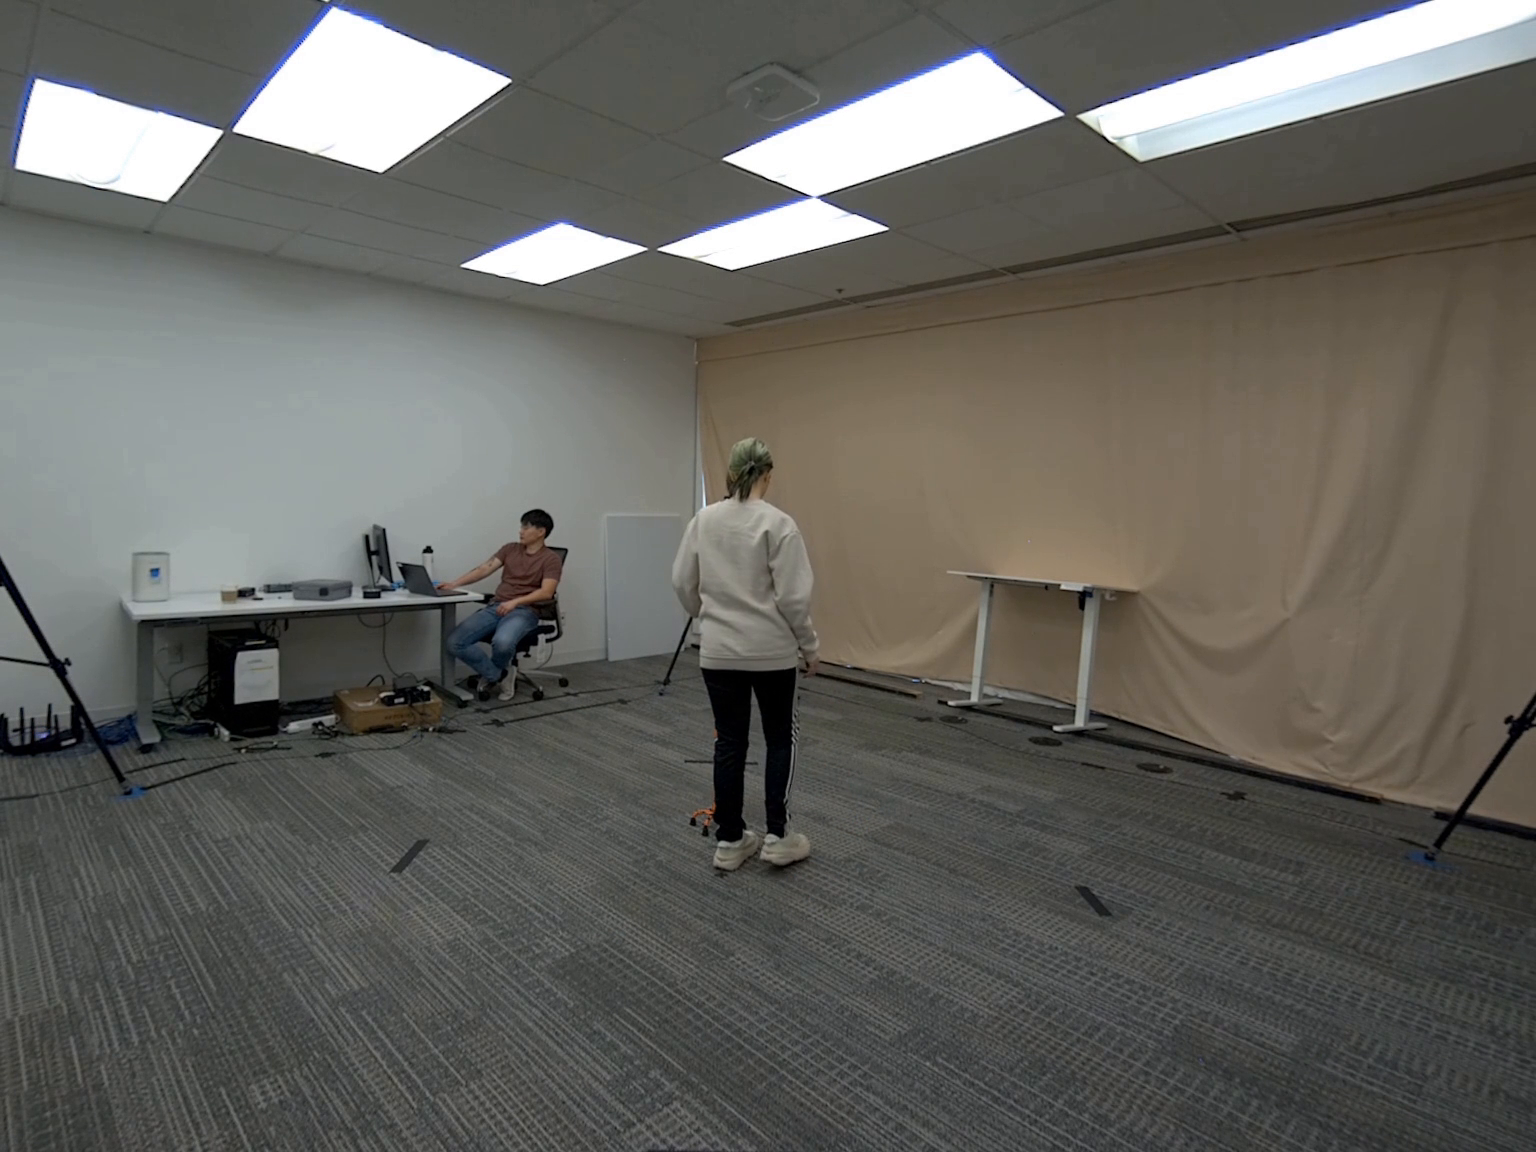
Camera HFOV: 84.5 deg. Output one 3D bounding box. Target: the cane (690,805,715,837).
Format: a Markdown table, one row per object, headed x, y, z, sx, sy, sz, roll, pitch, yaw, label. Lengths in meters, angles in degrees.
| x | y | z | sx | sy | sz | roll | pitch | yaw | label |
| --- | --- | --- | --- | --- | --- | --- | --- | --- | --- |
| -0.200 | 0.613 | 3.546 | 0.202 | 0.906 | 0.155 | 1 | 2 | -27 | cane |
